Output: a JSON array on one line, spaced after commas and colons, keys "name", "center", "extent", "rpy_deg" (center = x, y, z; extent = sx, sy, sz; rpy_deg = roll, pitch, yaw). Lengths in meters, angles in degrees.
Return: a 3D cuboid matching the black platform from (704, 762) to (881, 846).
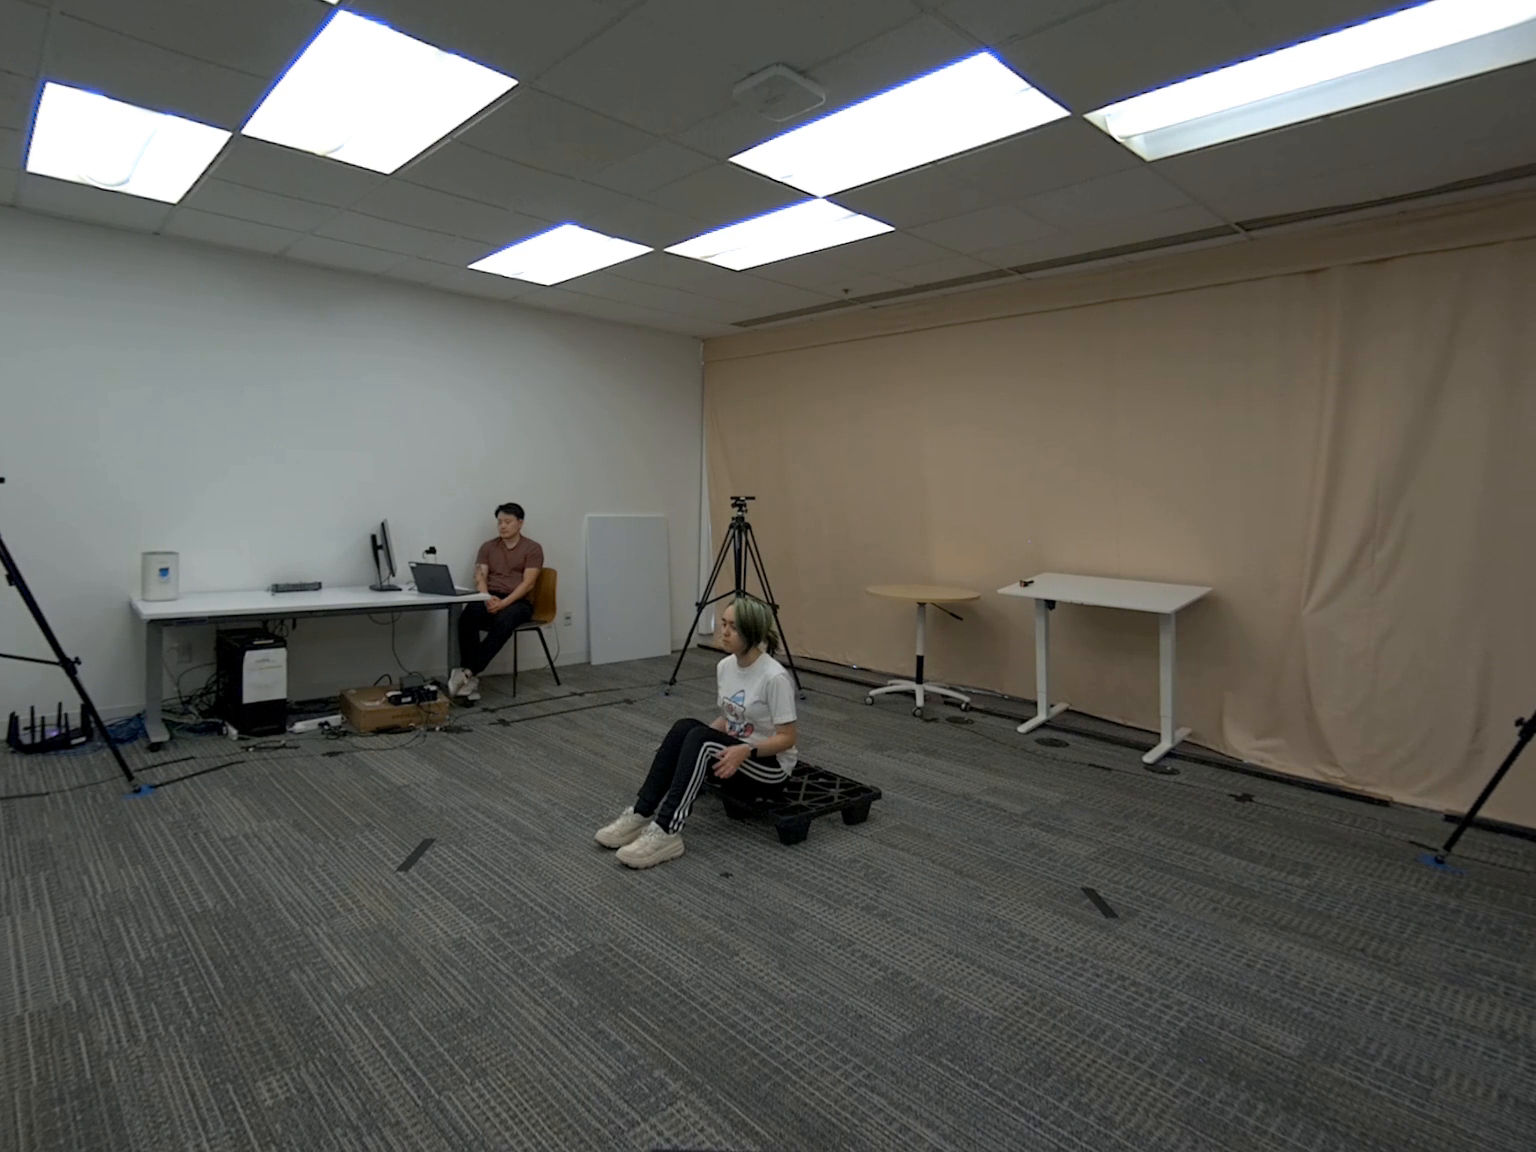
[{"name": "black platform", "center": [0.010, 0.980, 3.804], "extent": [0.592, 0.143, 0.826], "rpy_deg": [-3, 6, -40]}]
